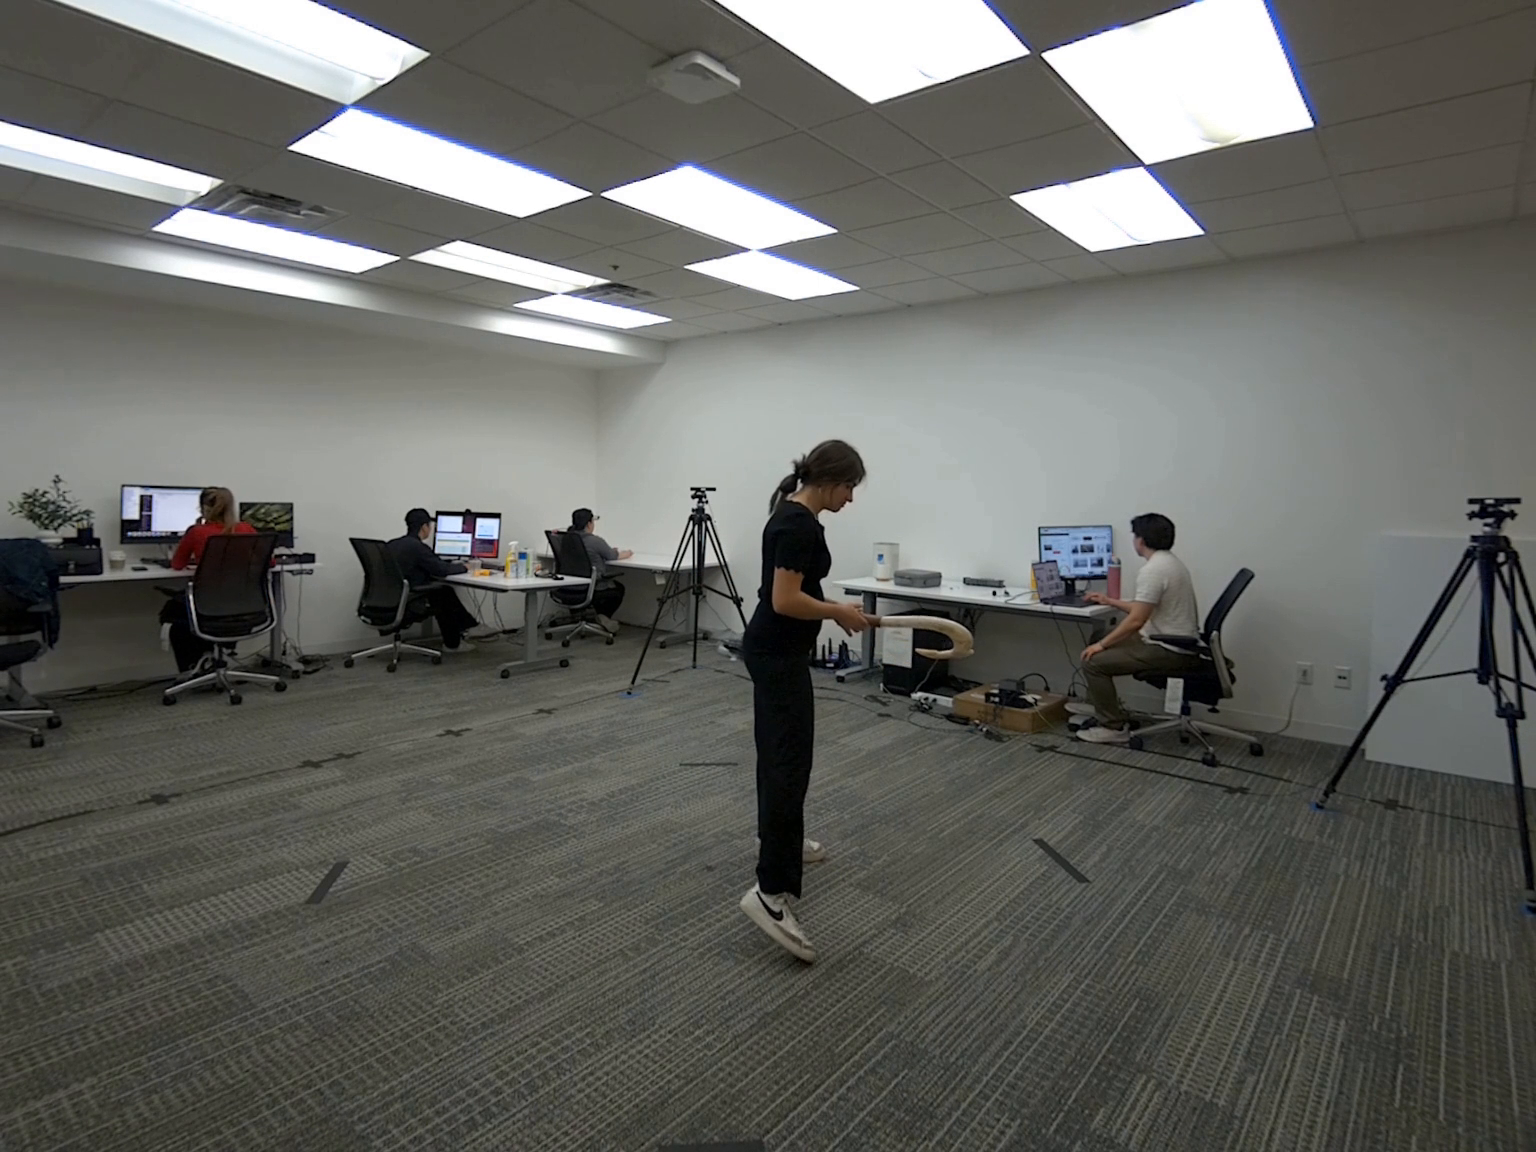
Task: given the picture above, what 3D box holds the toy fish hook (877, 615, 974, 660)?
[{"bbox_3d":[0.438,0.213,2.931,0.520,0.217,0.049,9,46,23],"label":"toy fish hook"}]
